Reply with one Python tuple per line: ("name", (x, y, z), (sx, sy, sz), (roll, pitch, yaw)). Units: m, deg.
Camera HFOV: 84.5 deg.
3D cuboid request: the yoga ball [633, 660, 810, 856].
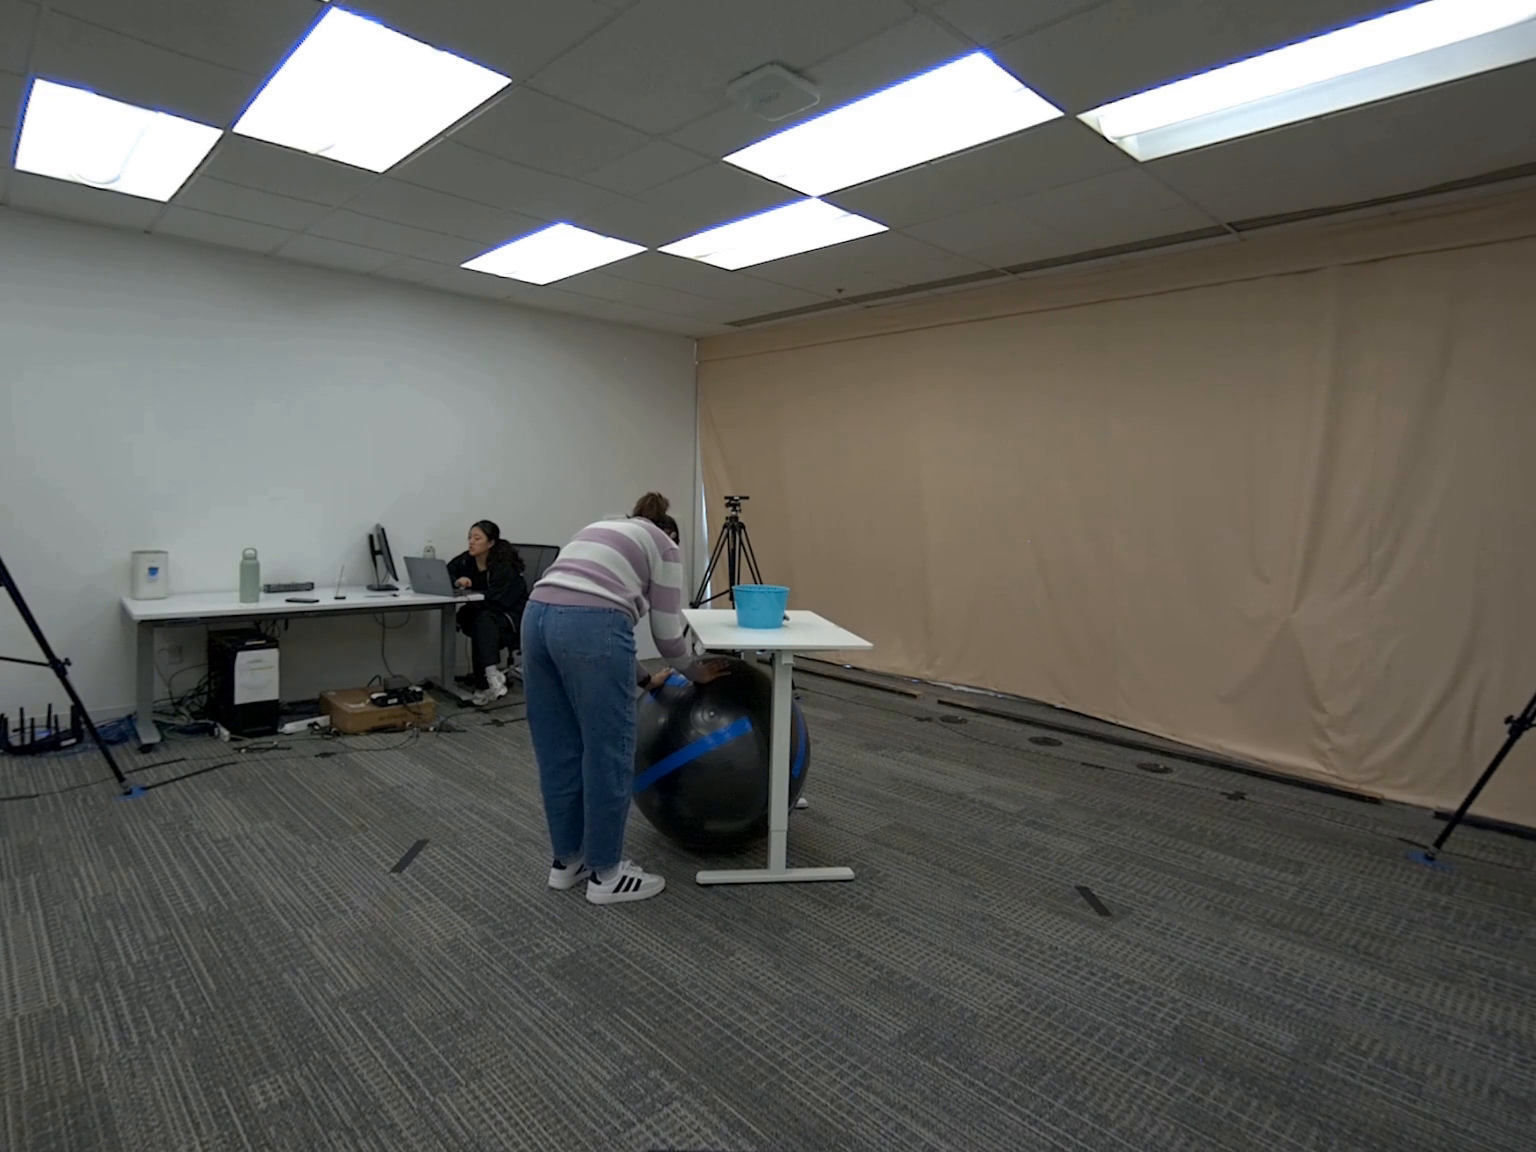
("yoga ball", (-0.218, 0.711, 3.405), (0.757, 0.756, 0.761), (1, 4, -1))
